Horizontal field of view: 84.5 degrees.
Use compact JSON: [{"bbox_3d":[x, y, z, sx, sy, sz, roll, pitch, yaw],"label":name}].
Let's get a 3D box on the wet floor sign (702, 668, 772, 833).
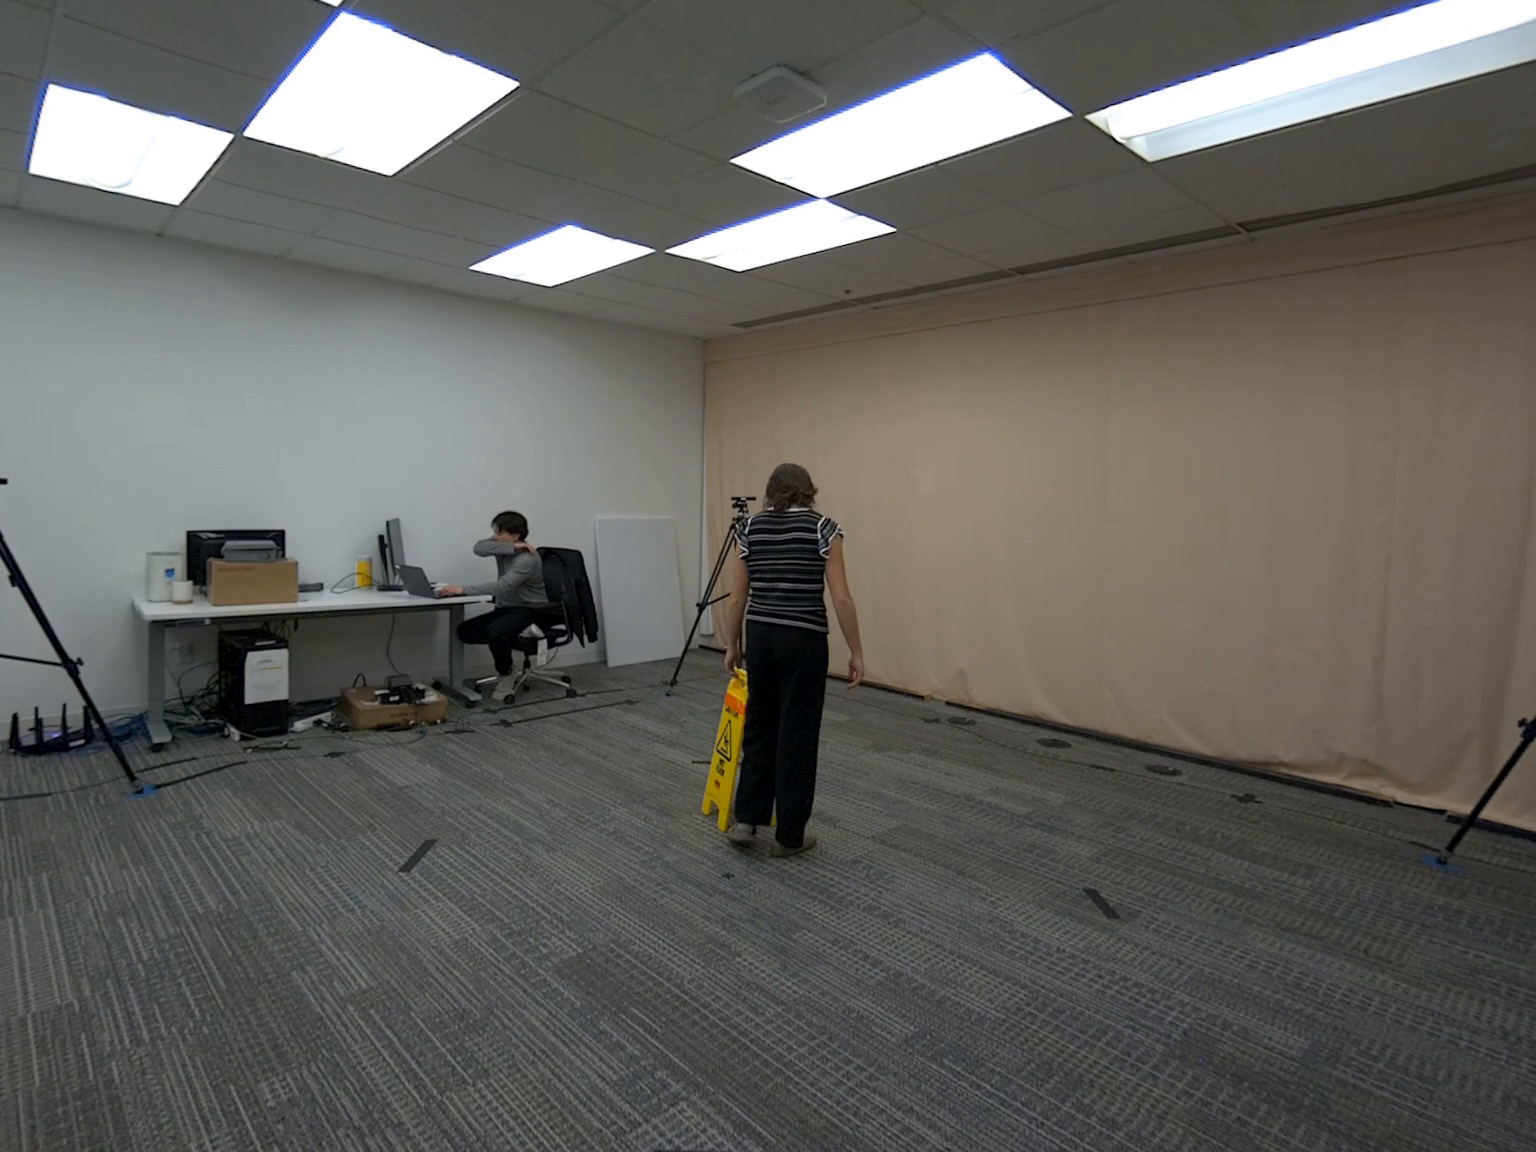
[{"bbox_3d":[-0.127,0.734,3.670,0.285,0.645,0.287,1,3,-22],"label":"wet floor sign"}]
